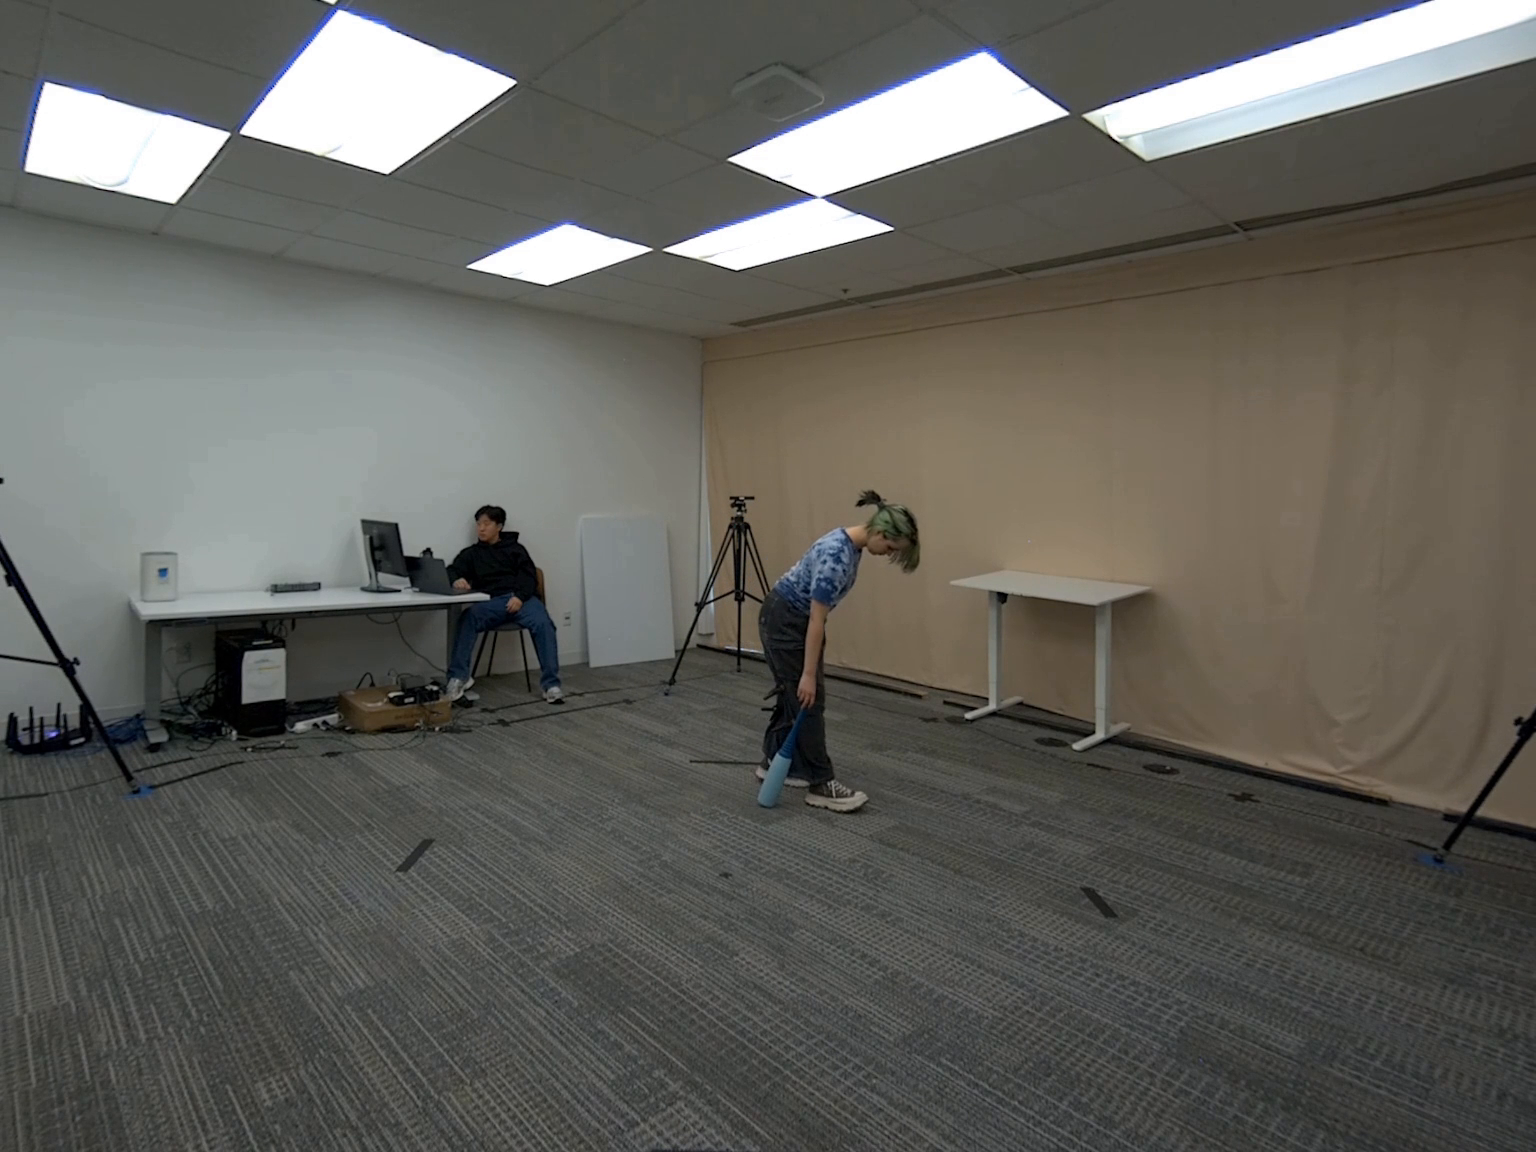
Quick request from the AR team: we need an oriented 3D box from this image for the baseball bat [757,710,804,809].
[{"bbox_3d":[0.071,0.792,3.785,0.088,0.540,0.090,19,11,-5],"label":"baseball bat"}]
